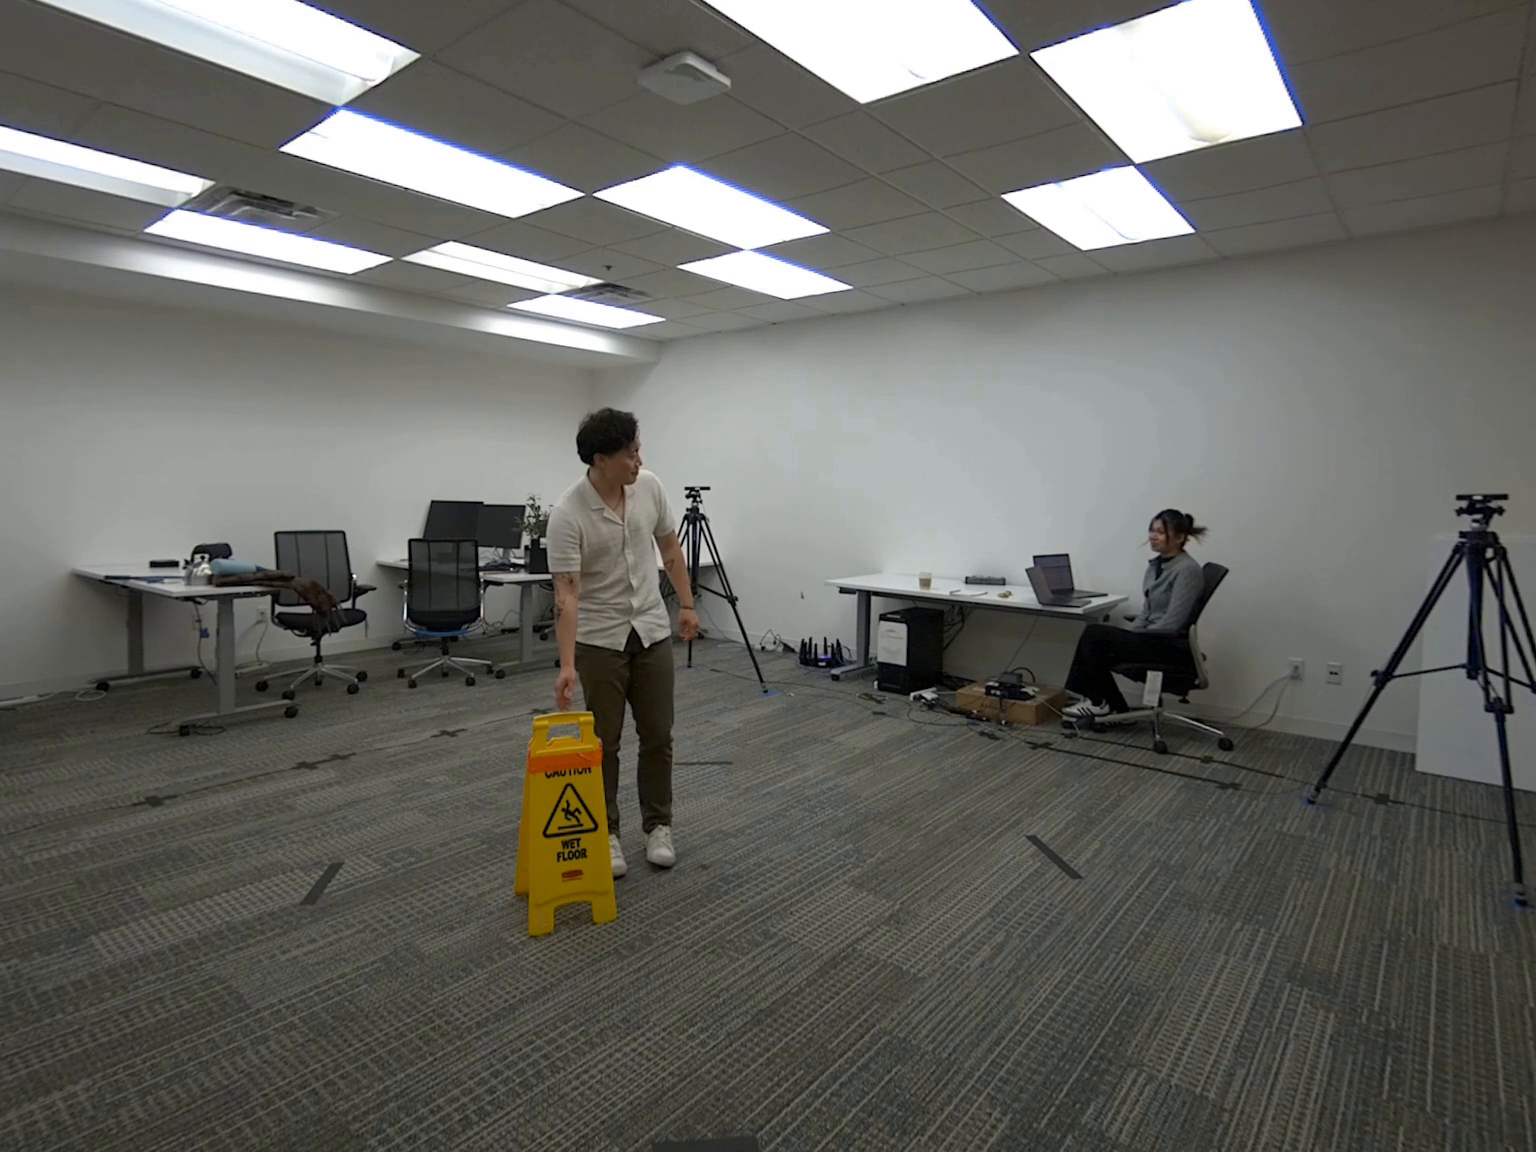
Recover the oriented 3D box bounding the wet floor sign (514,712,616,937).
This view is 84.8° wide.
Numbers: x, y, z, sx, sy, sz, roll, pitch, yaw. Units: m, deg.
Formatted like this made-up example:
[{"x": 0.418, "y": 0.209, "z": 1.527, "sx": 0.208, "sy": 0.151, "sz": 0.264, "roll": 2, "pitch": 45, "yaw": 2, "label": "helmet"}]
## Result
[{"x": -0.677, "y": 0.767, "z": 2.785, "sx": 0.276, "sy": 0.644, "sz": 0.297, "roll": -2, "pitch": 4, "yaw": -25, "label": "wet floor sign"}]
